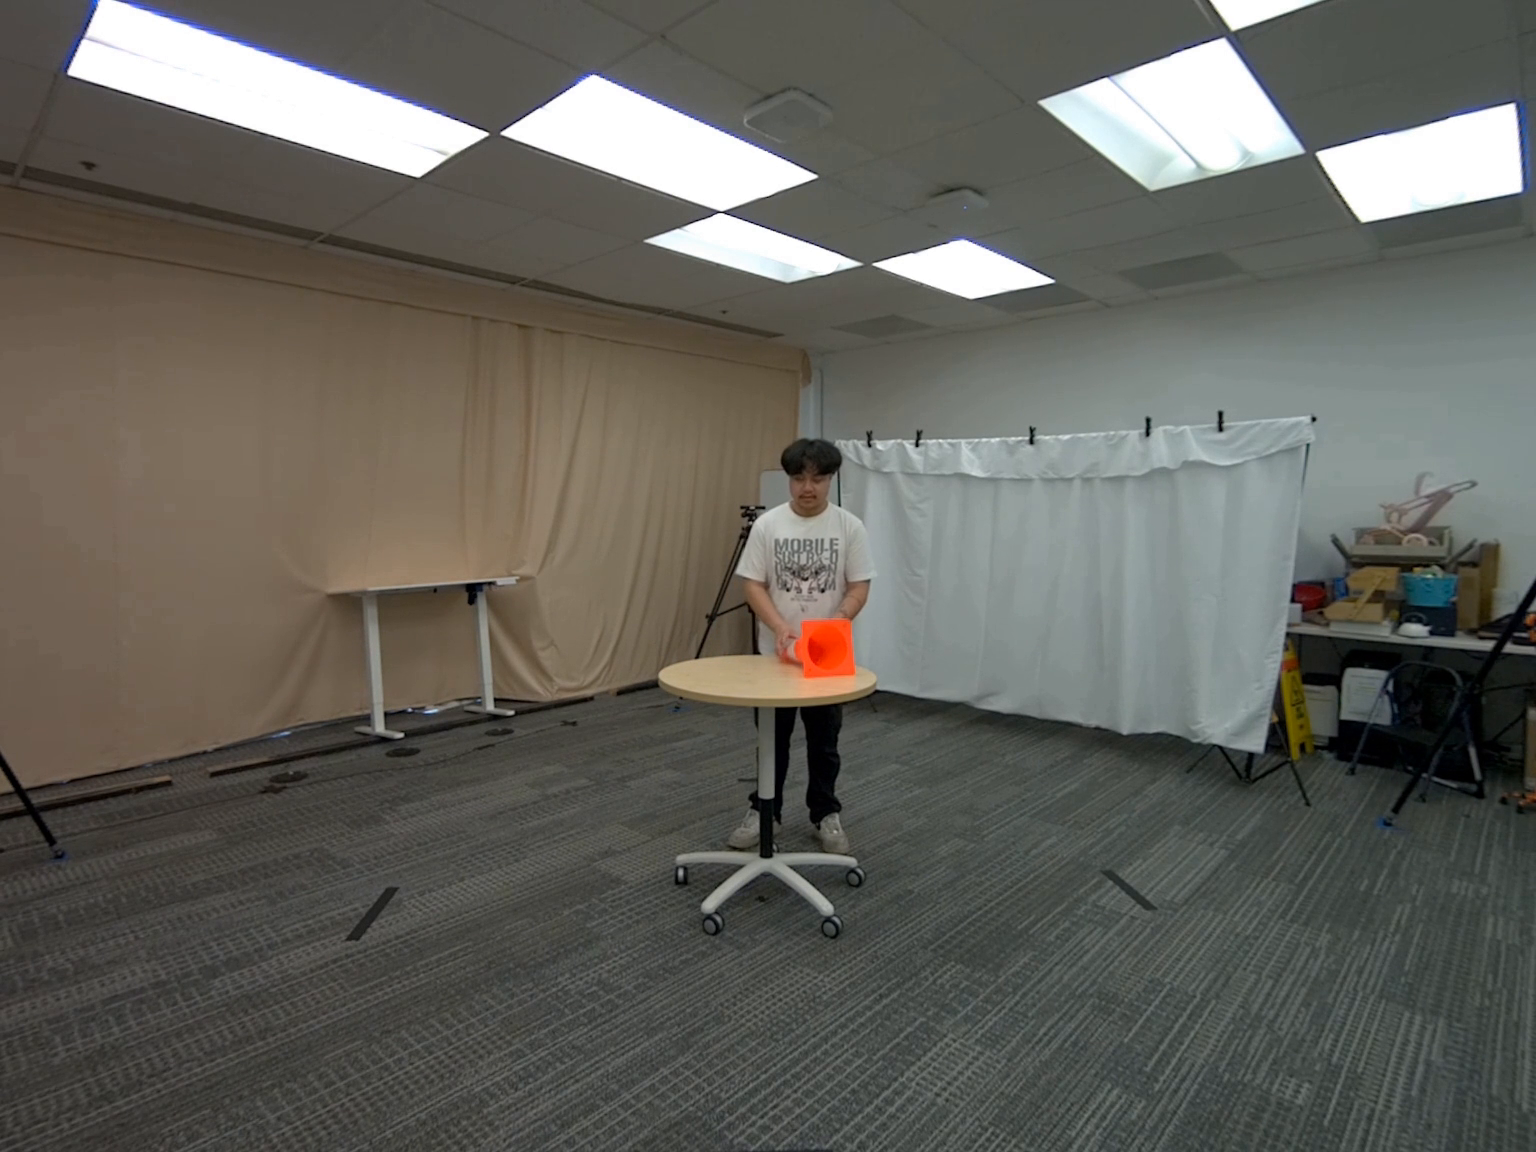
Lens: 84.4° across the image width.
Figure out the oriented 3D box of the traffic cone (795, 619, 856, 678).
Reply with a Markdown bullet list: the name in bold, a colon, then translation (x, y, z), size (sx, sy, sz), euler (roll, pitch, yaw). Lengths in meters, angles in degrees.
- **traffic cone**: translation (0.129, 0.279, 3.131), size (0.201, 0.204, 0.389), euler (-5, -7, -23)
